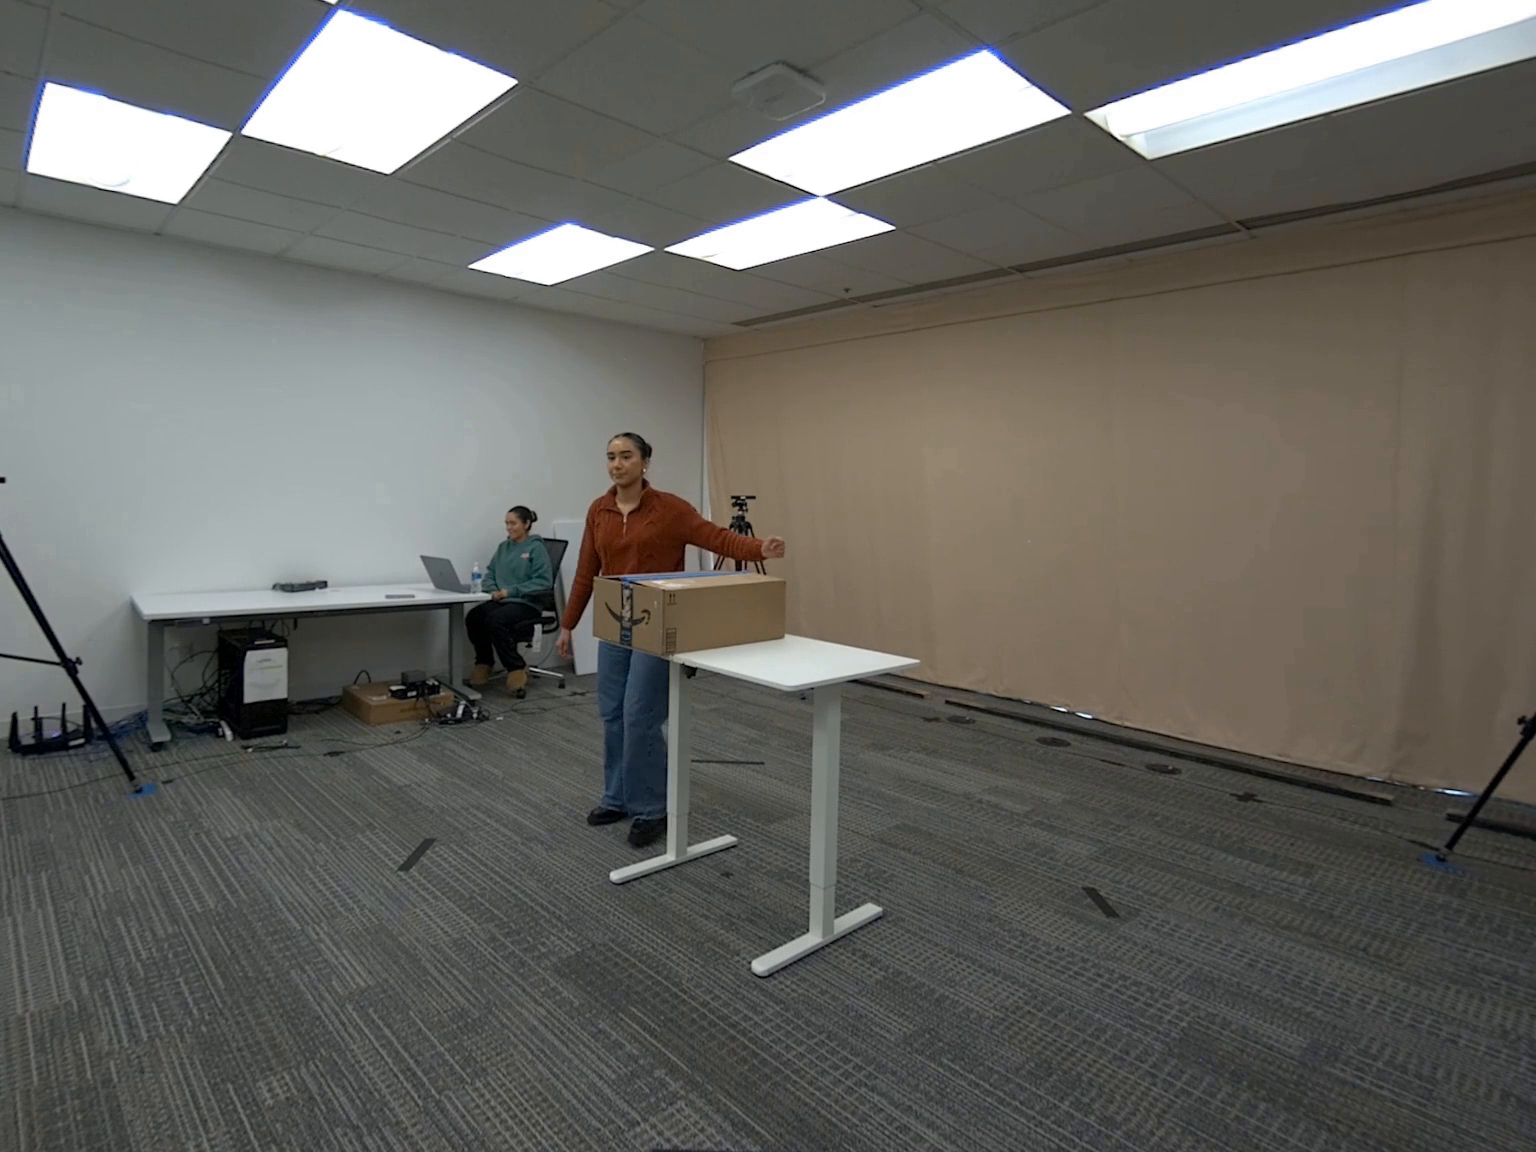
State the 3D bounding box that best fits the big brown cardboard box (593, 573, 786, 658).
[{"bbox_3d":[-0.288,0.118,3.019,0.575,0.232,0.428,-3,7,-43],"label":"big brown cardboard box"}]
